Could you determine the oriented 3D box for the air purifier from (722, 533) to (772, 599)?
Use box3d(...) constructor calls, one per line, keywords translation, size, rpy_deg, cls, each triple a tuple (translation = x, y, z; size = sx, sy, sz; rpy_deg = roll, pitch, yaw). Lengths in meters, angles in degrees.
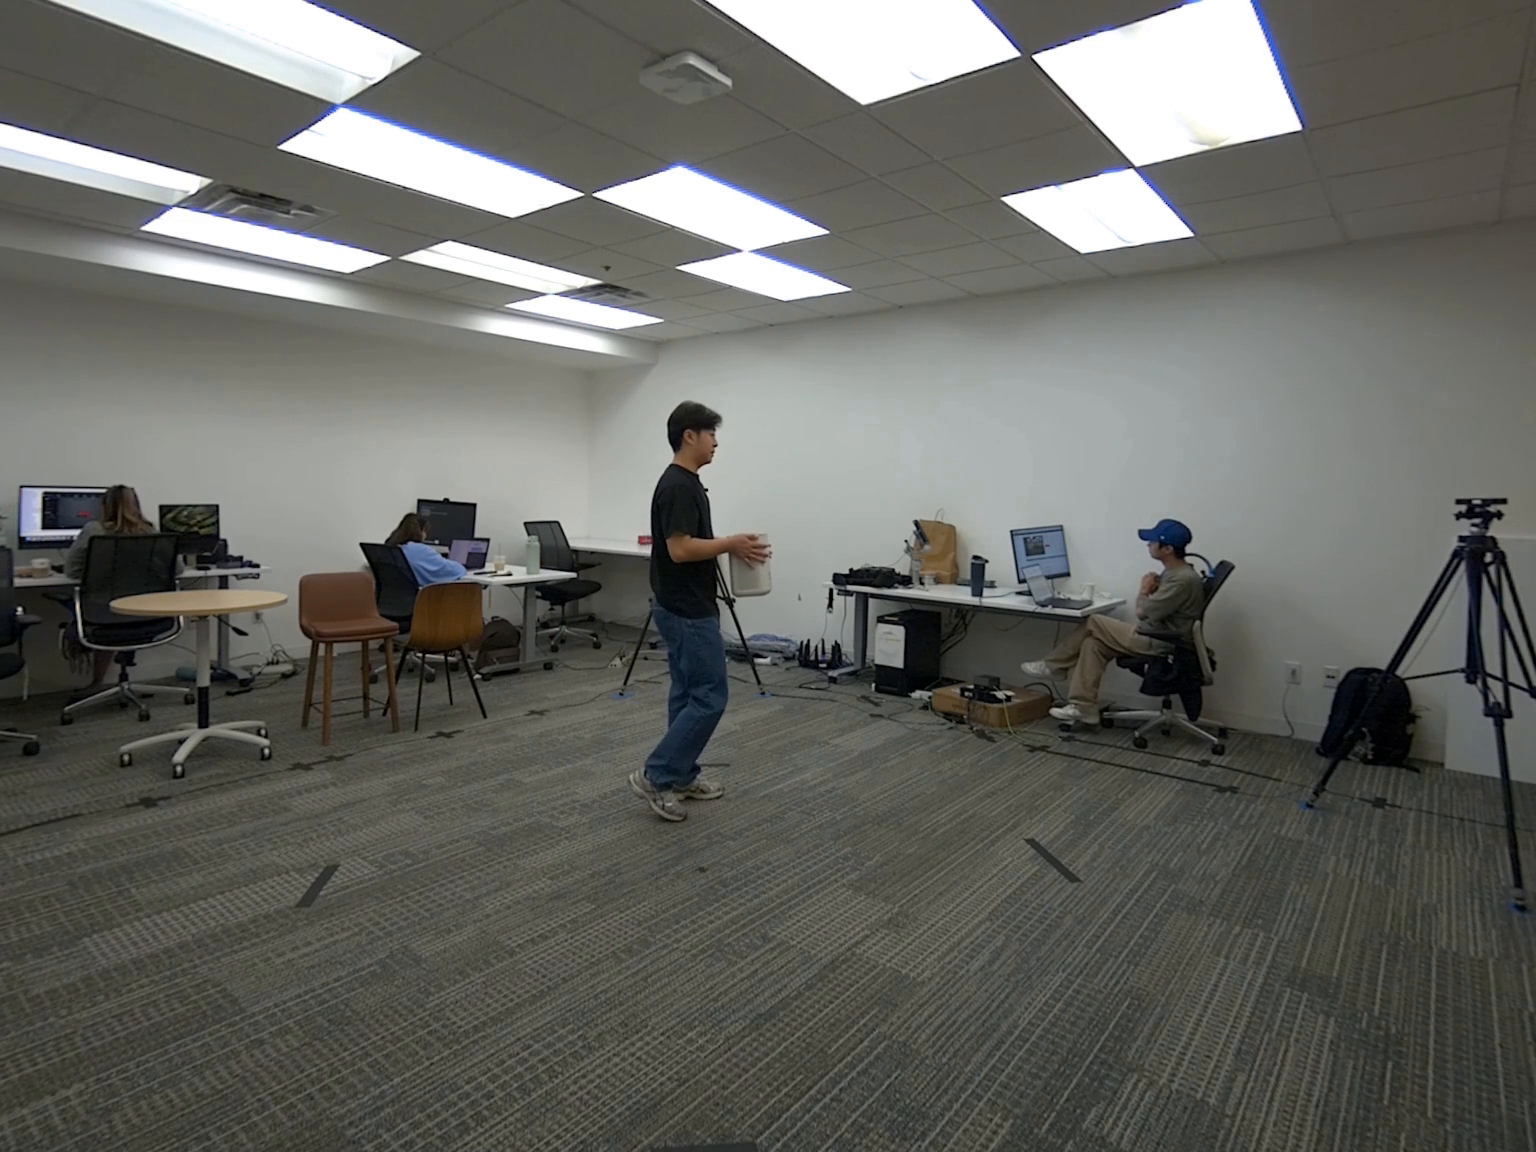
box3d(translation=(-0.094, -0.048, 3.689), size=(0.174, 0.265, 0.169), rpy_deg=(-4, 1, 12), cls="air purifier")
